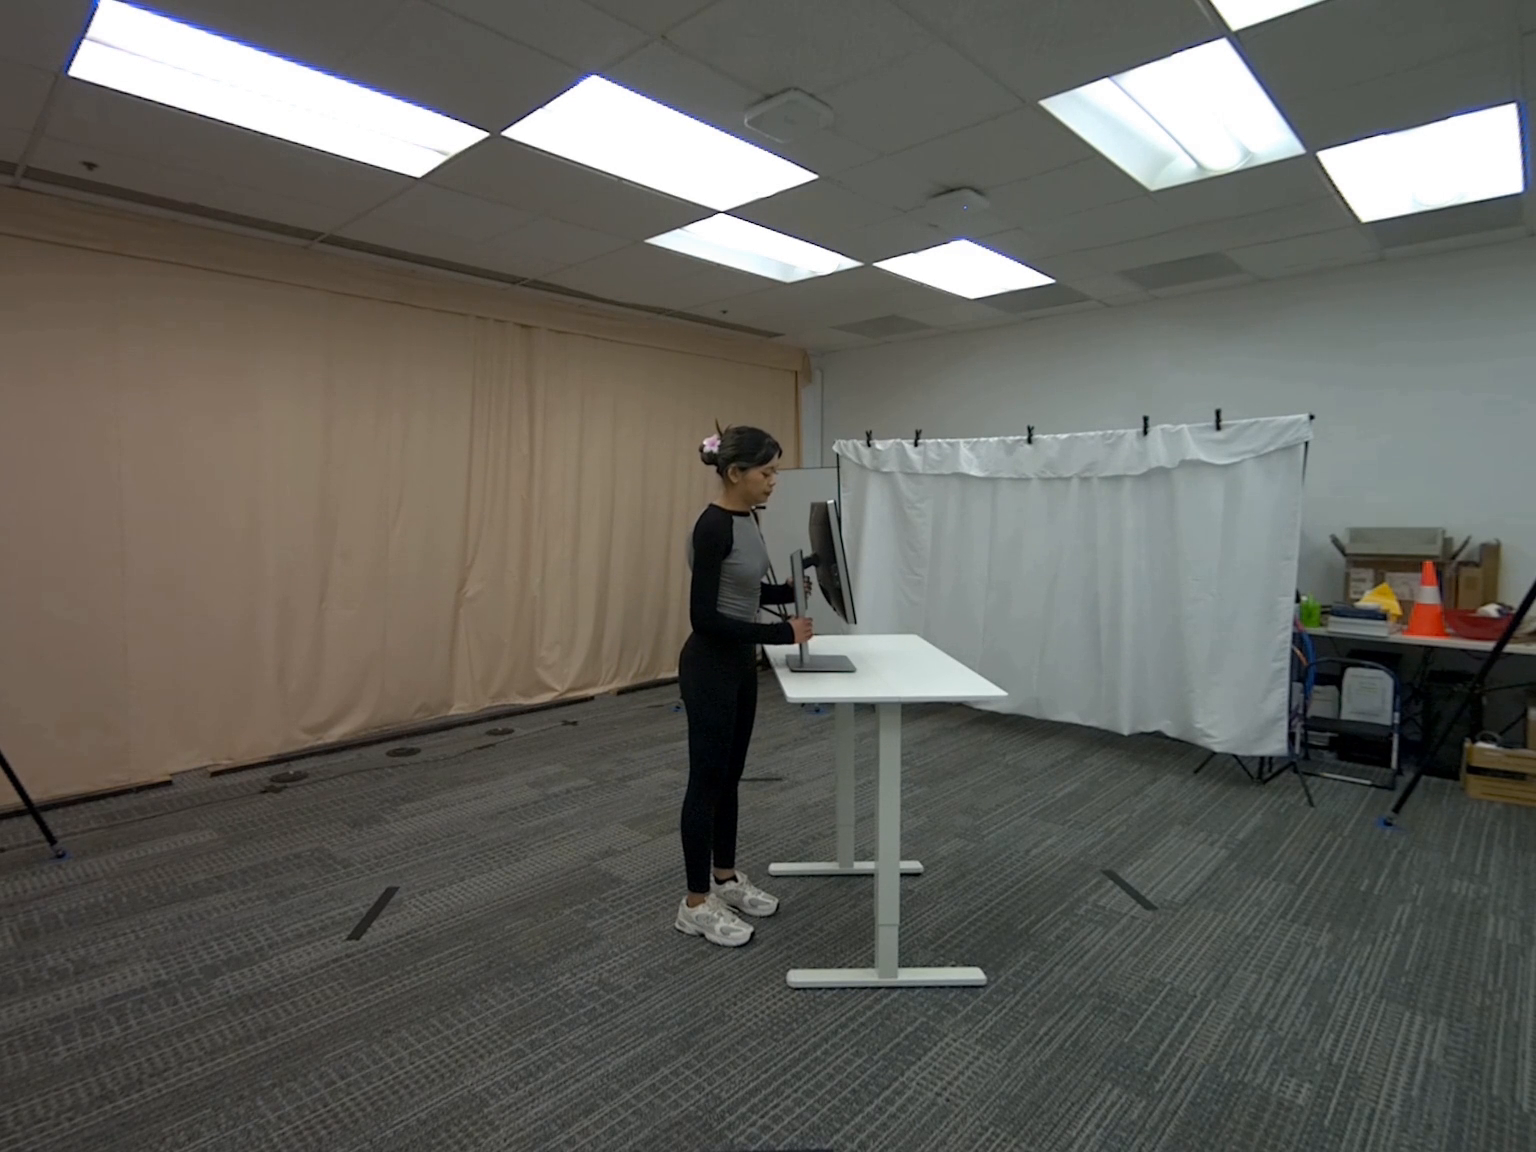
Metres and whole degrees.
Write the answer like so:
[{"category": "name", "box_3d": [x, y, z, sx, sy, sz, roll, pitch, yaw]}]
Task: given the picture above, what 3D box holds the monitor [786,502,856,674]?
[{"category": "monitor", "box_3d": [0.165, 0.031, 2.684, 0.187, 0.521, 0.541, 1, 4, -3]}]
